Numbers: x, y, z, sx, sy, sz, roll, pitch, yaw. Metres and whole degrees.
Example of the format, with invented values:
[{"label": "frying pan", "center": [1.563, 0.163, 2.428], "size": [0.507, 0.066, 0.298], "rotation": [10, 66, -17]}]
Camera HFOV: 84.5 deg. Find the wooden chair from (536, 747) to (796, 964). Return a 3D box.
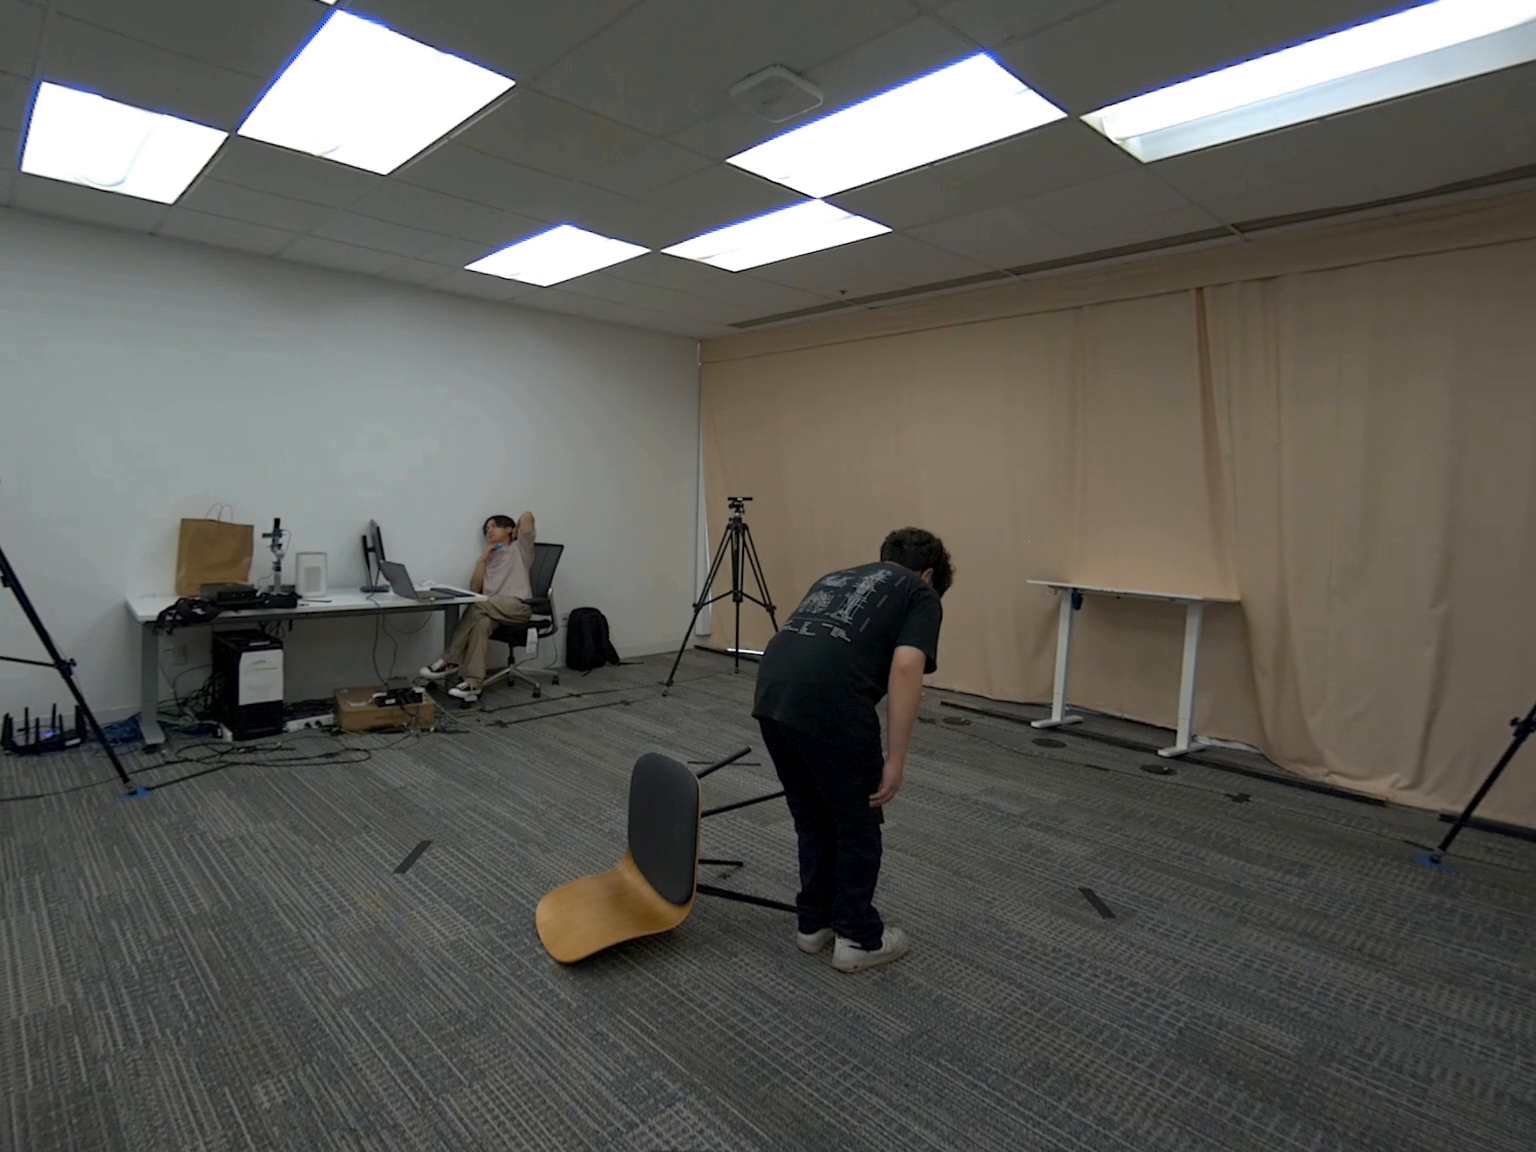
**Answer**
[{"label": "wooden chair", "center": [-0.318, 0.879, 2.784], "size": [0.859, 0.521, 0.489], "rotation": [-2, 6, -32]}]
